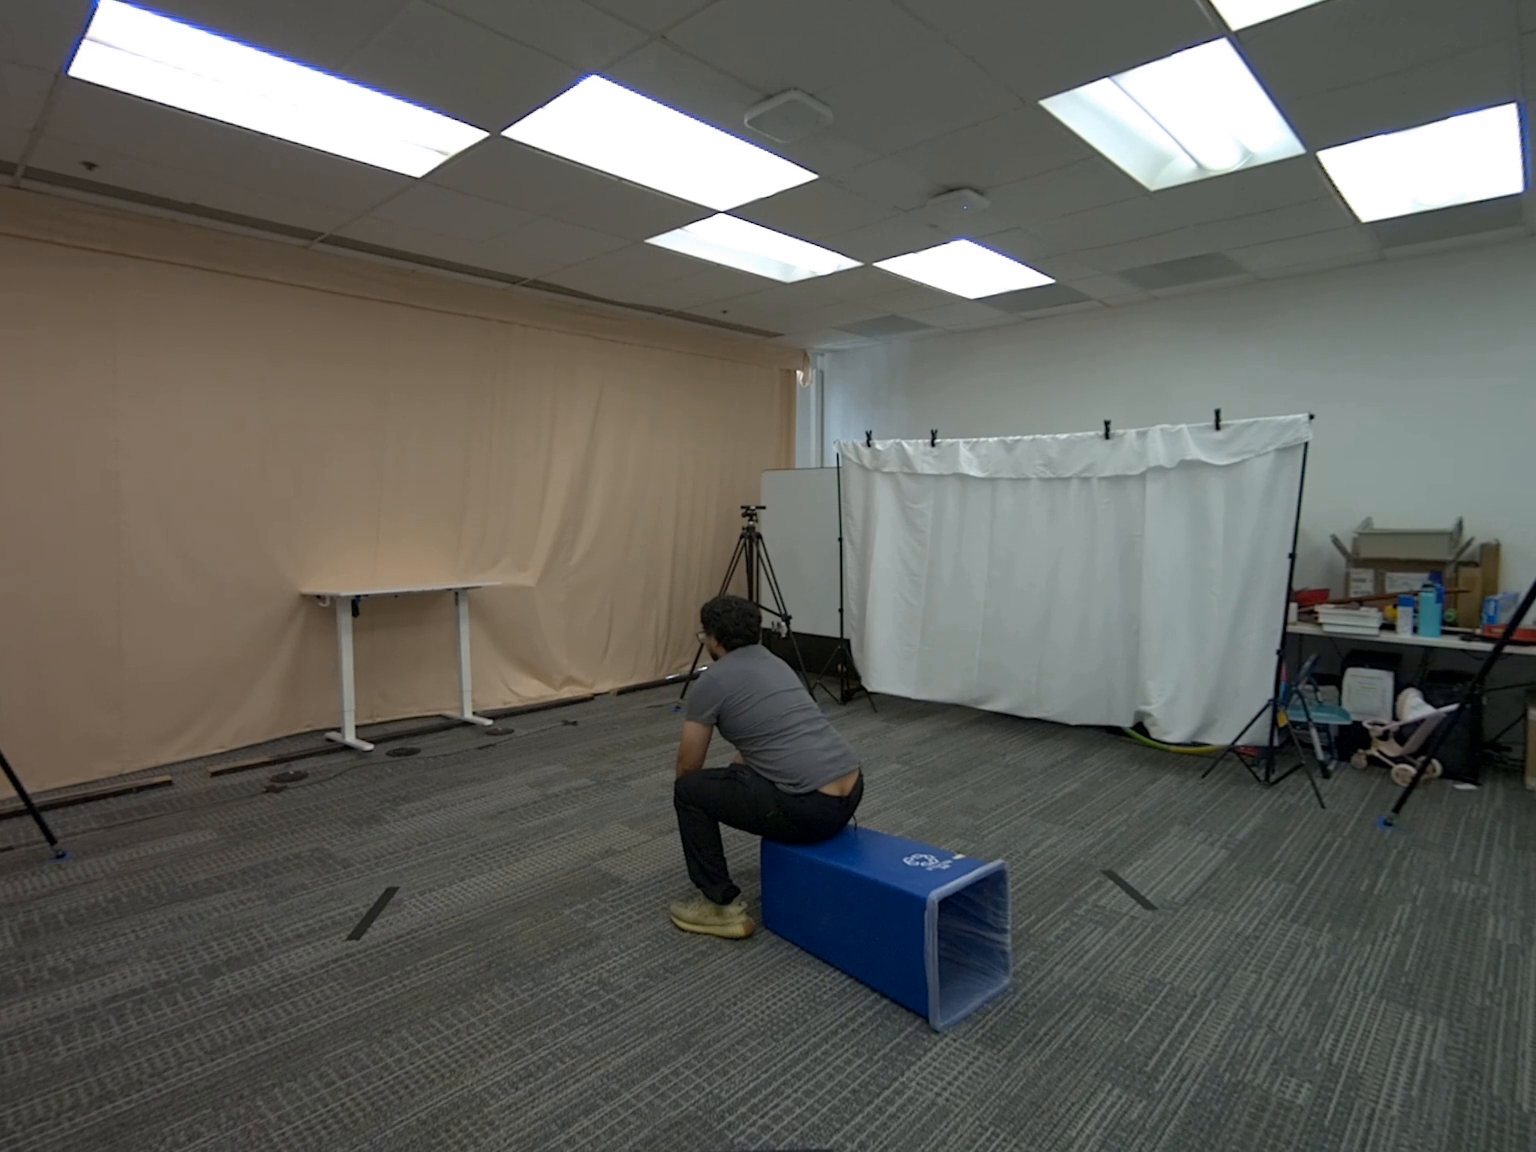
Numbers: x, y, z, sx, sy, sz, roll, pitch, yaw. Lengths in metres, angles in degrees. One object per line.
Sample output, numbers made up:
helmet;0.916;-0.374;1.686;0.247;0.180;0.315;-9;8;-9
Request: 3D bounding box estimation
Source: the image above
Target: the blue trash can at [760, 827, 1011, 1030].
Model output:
blue trash can;0.337;1.001;2.588;0.366;0.373;0.737;-3;4;-41
